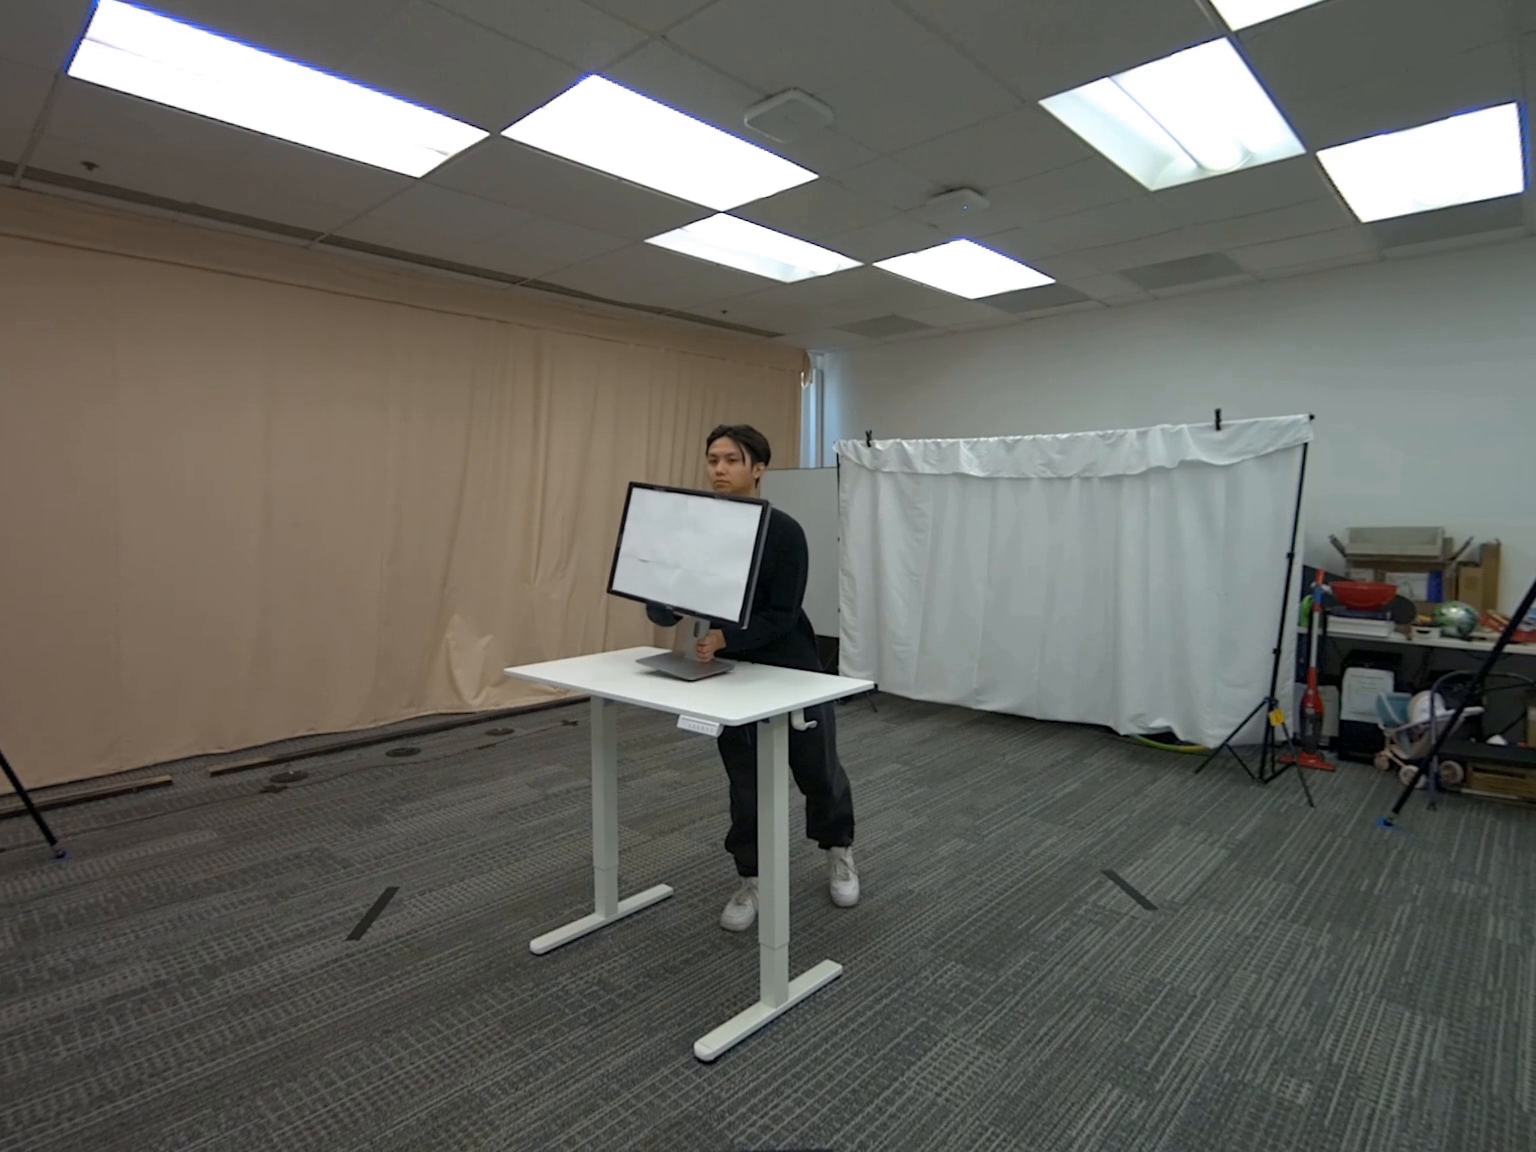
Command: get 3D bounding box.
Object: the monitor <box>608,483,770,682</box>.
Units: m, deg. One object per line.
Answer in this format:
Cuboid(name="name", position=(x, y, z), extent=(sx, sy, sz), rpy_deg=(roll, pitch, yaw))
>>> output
Cuboid(name="monitor", position=(-0.236, 0.012, 2.536), extent=(0.549, 0.512, 0.170), rpy_deg=(13, 17, 40))
